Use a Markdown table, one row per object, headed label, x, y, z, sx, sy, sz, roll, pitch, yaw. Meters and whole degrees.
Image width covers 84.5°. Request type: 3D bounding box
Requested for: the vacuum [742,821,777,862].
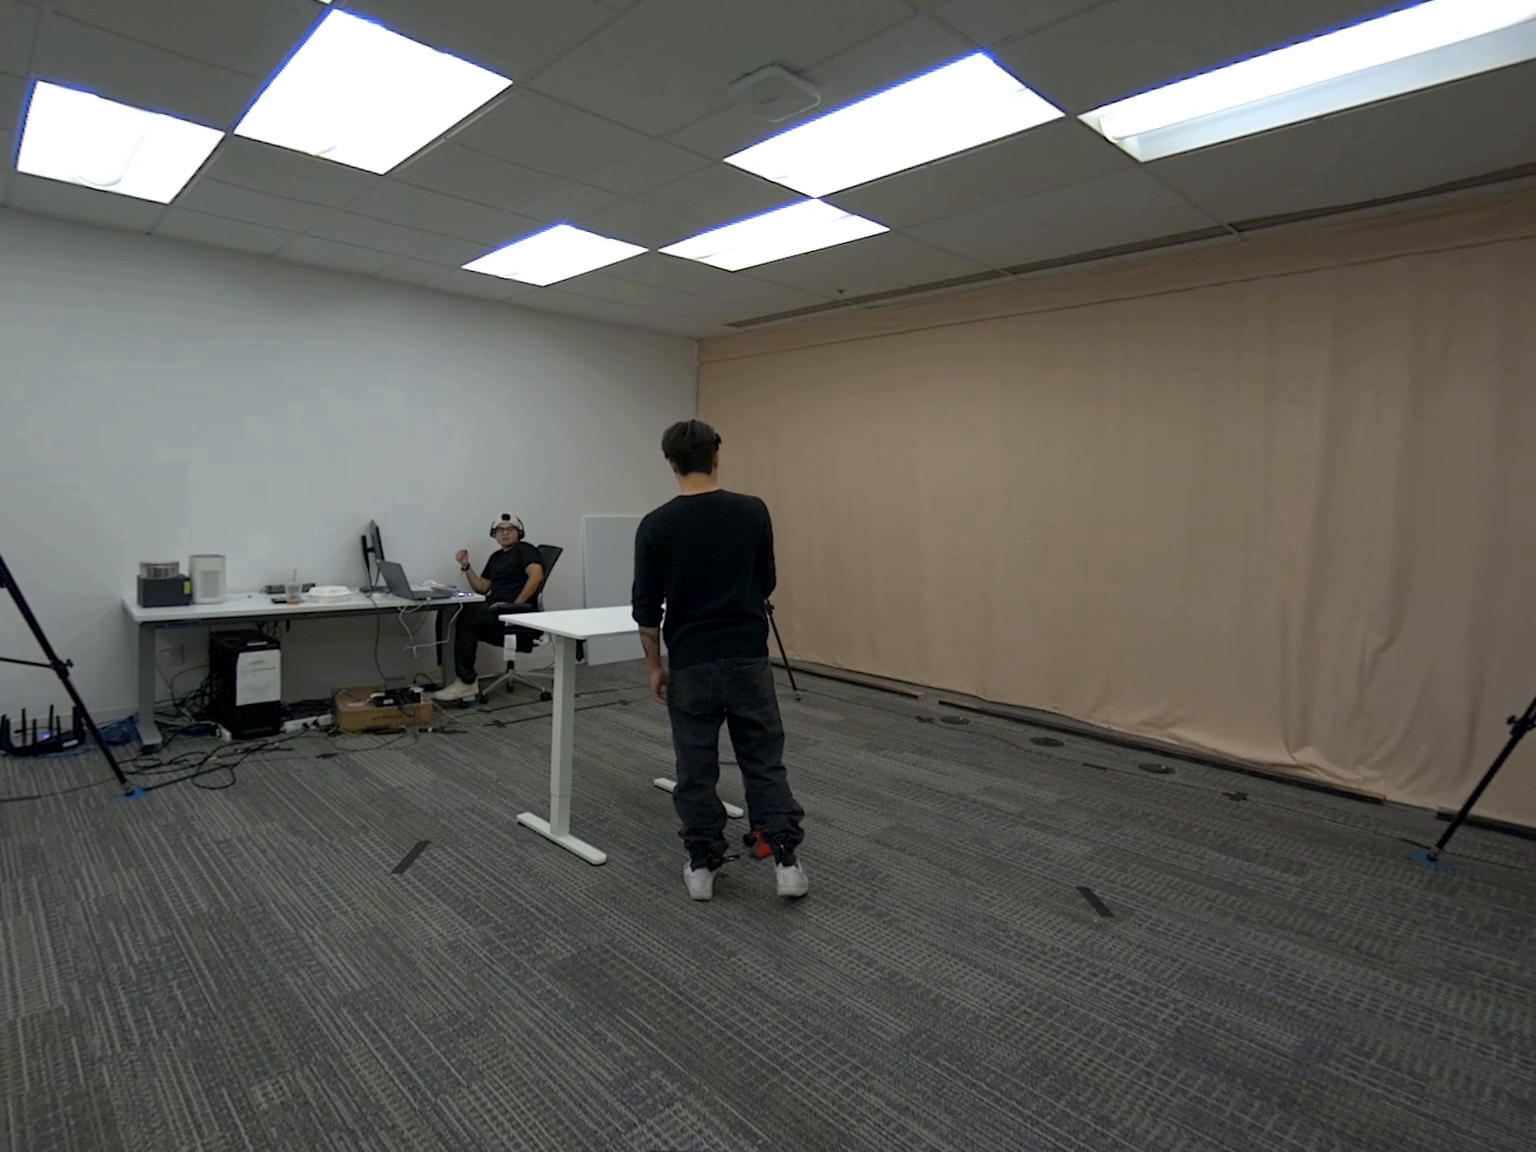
| label | x | y | z | sx | sy | sz | roll | pitch | yaw |
| --- | --- | --- | --- | --- | --- | --- | --- | --- | --- |
| vacuum | -0.084 | 0.569 | 3.376 | 0.147 | 1.049 | 0.247 | -7 | 1 | 38 |
